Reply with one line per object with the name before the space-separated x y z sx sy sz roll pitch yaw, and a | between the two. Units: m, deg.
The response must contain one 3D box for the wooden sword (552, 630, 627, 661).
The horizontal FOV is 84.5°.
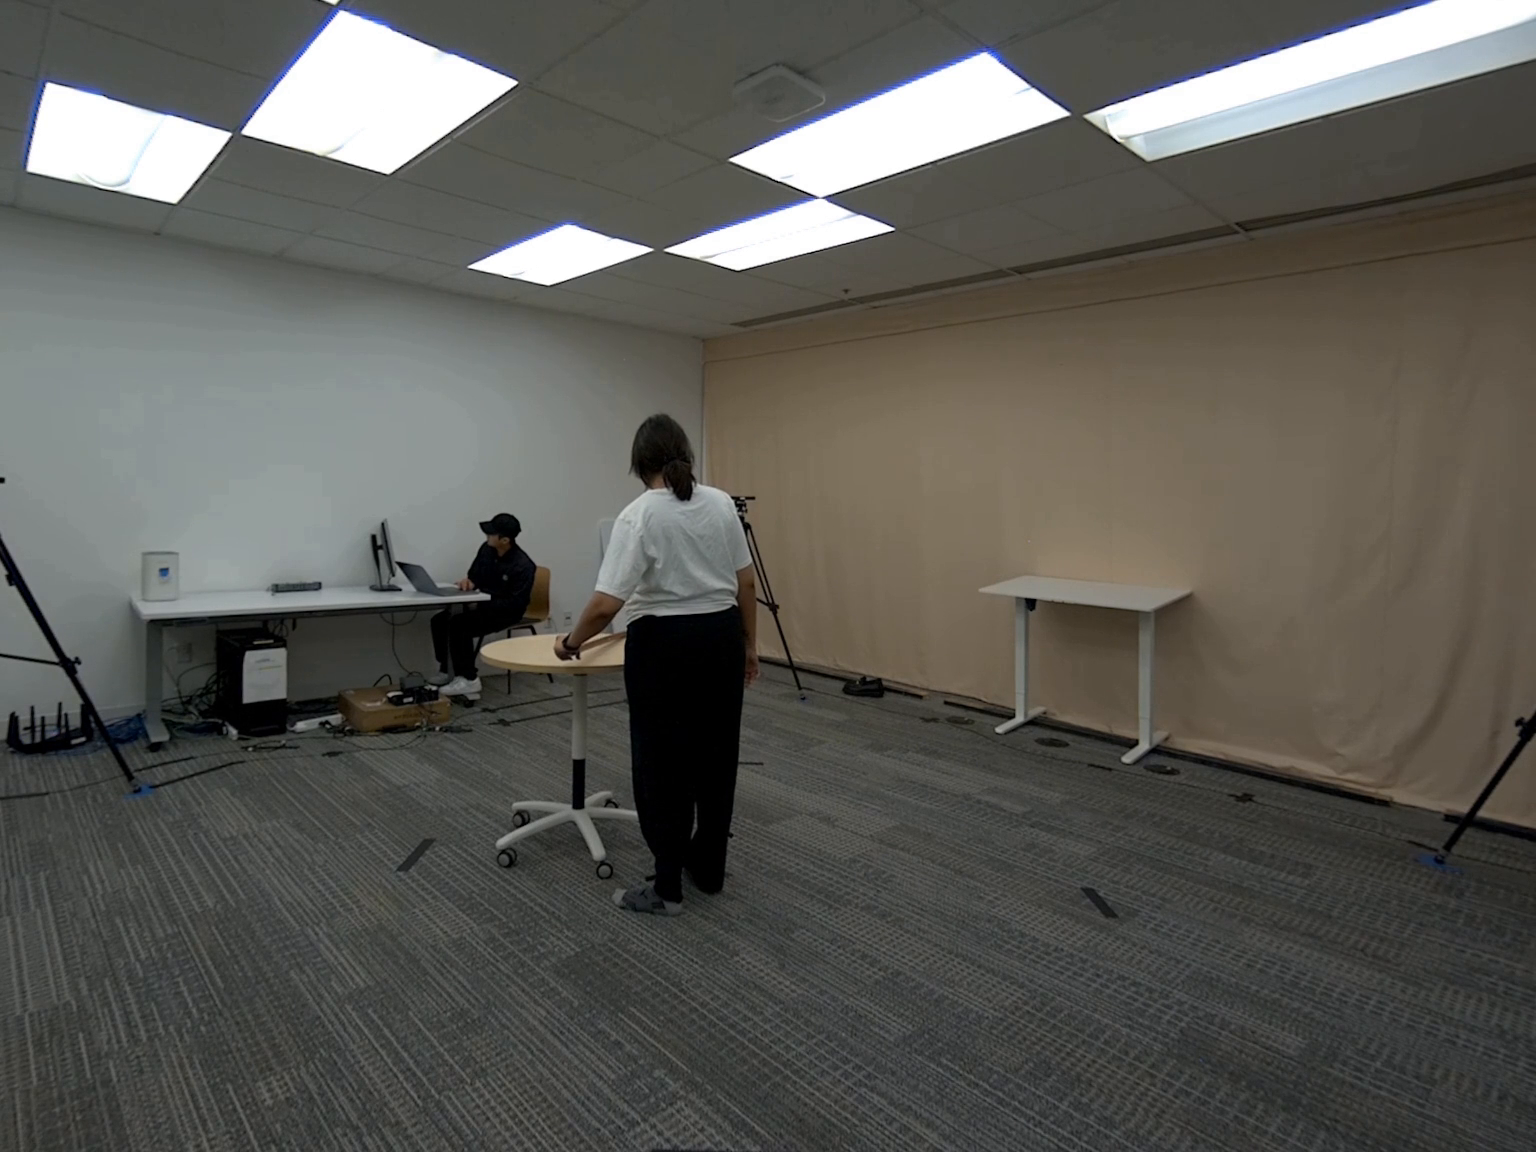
wooden sword | -0.606 0.247 3.248 0.052 0.024 1.016 40 5 6
